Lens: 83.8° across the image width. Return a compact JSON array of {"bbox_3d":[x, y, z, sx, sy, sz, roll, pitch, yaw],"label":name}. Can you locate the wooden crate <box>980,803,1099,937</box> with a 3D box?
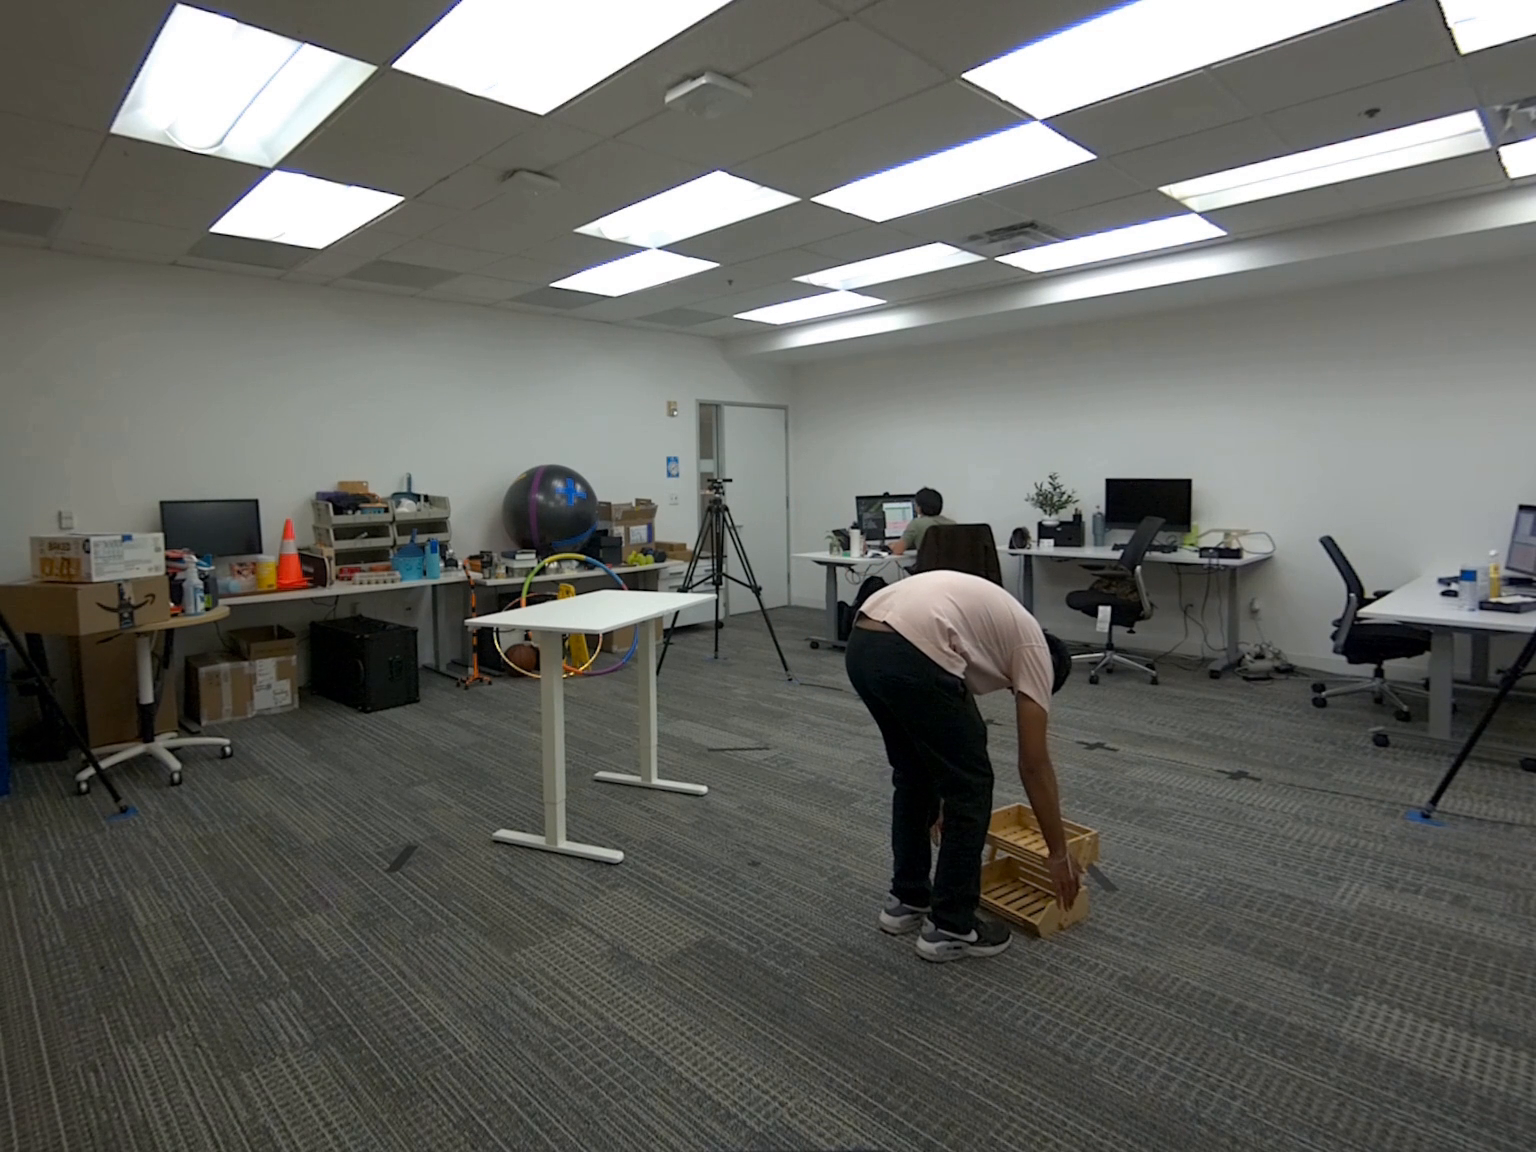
[{"bbox_3d":[0.851,0.937,2.760,0.294,0.272,0.334,-4,6,-35],"label":"wooden crate"}]
